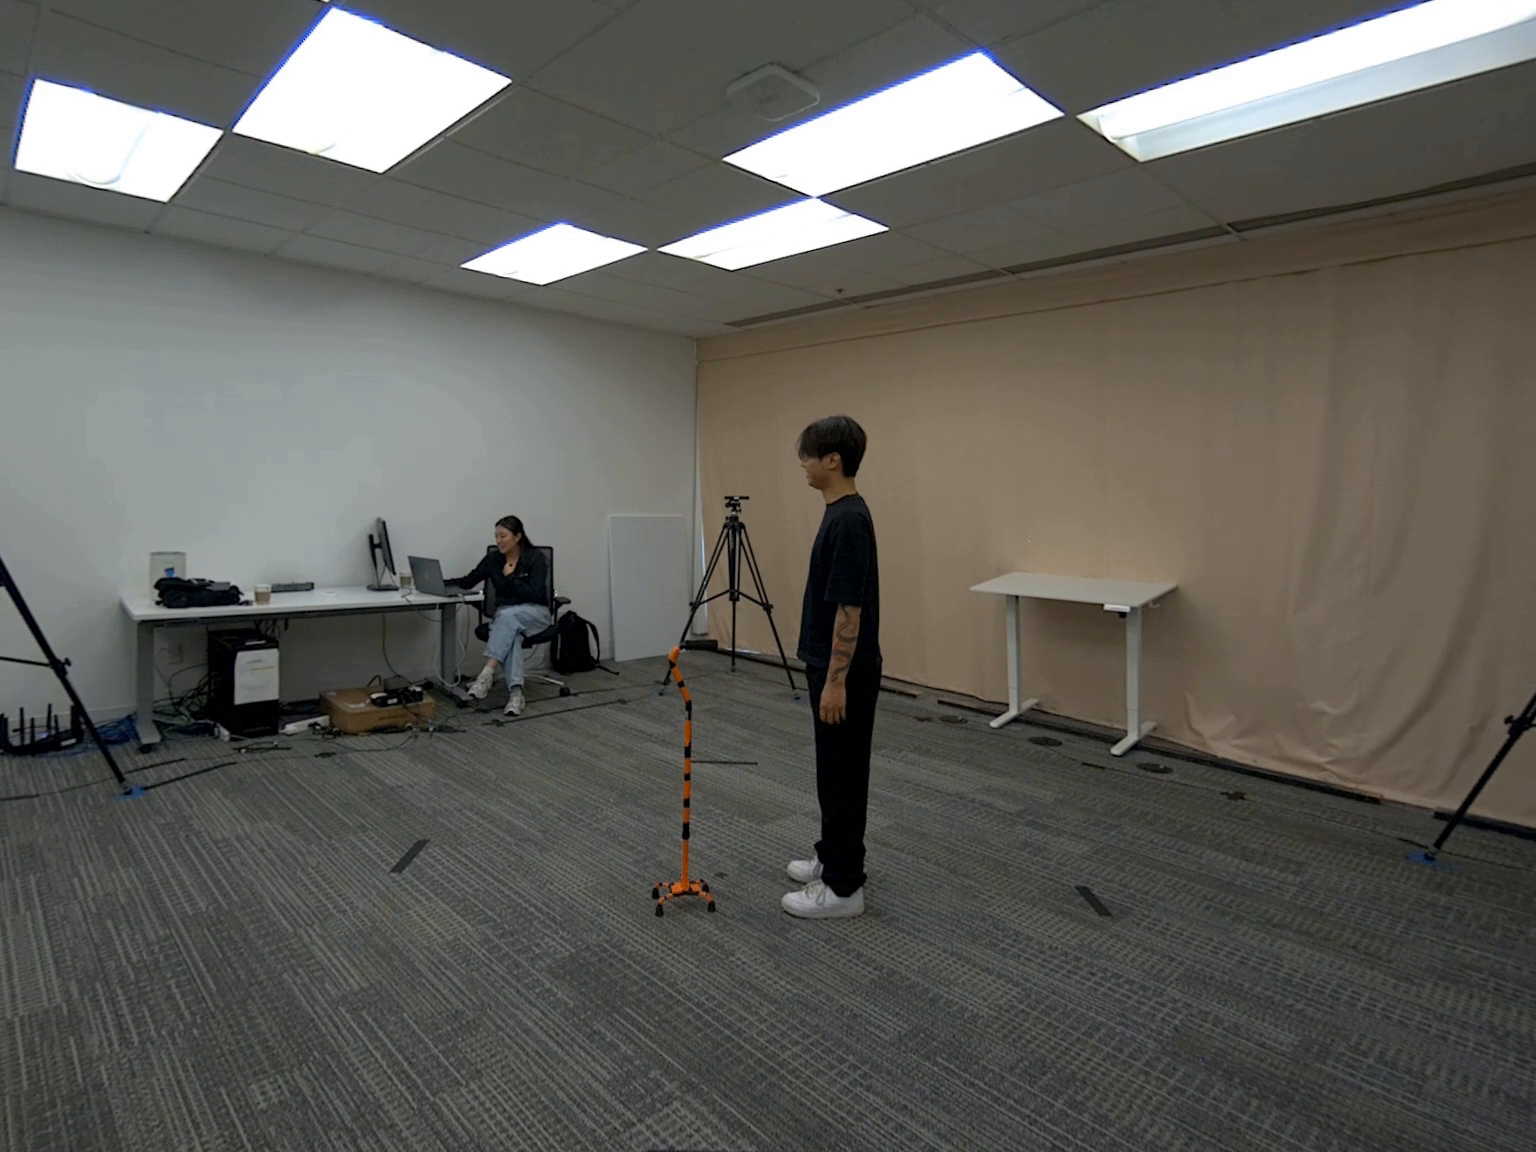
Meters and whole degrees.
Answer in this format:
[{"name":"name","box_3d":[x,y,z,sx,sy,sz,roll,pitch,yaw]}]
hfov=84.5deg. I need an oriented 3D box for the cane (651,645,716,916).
[{"name":"cane","box_3d":[-0.277,0.664,2.852,0.204,0.906,0.153,2,3,-13]}]
